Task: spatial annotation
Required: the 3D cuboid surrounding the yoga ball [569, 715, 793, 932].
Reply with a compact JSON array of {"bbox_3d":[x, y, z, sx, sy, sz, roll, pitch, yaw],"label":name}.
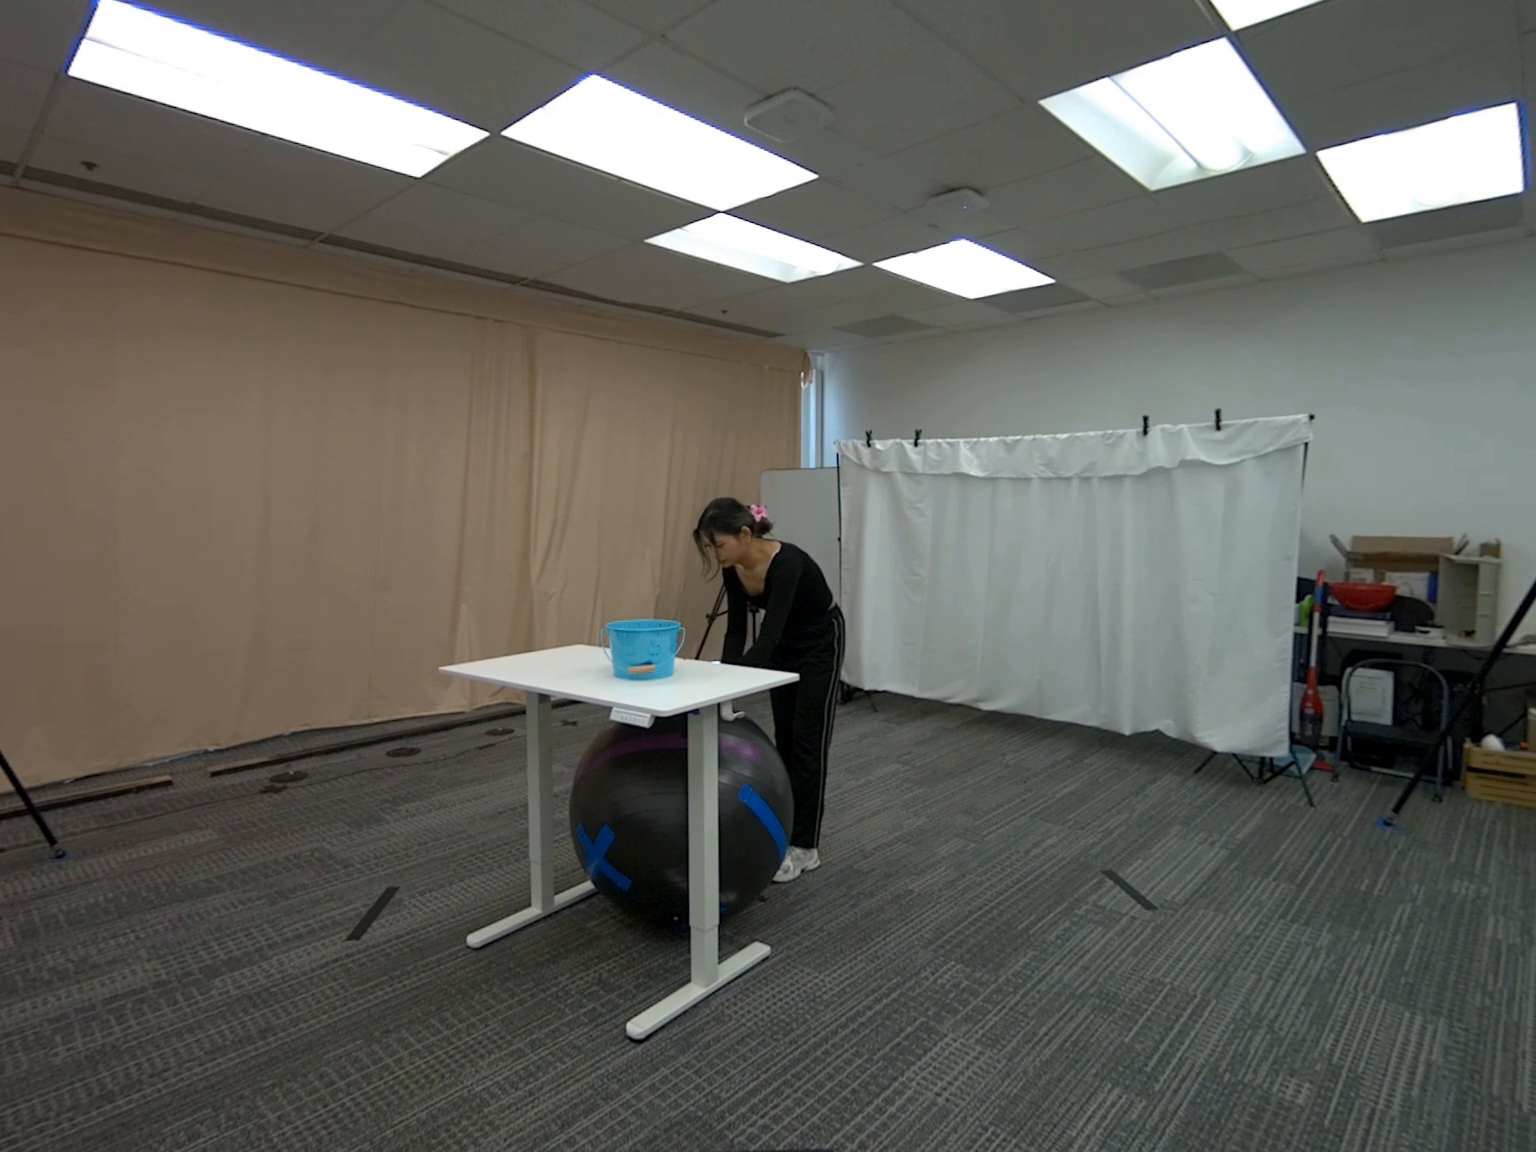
[{"bbox_3d":[-0.298,0.786,2.859,0.757,0.756,0.761,0,4,-2],"label":"yoga ball"}]
